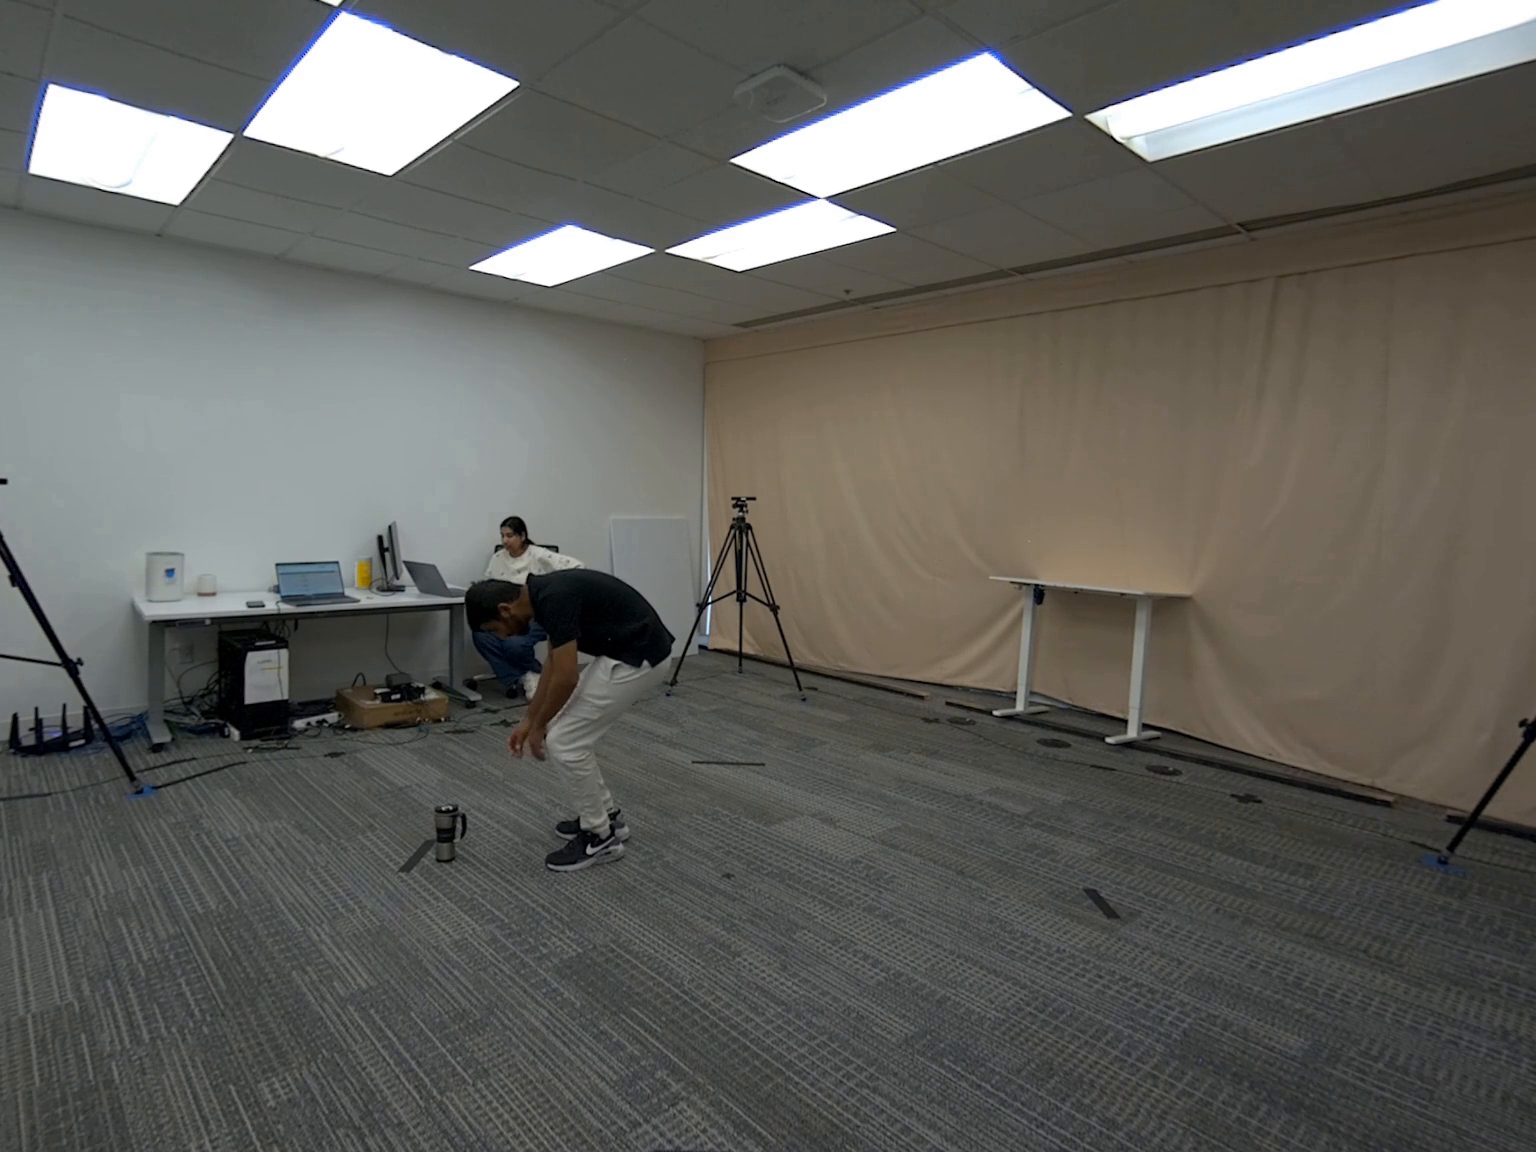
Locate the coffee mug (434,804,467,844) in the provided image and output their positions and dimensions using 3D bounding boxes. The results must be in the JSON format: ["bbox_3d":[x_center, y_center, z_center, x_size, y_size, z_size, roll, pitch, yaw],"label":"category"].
[{"bbox_3d":[-1.206,0.974,3.176,0.125,0.203,0.086,0,-3,45],"label":"coffee mug"}]
